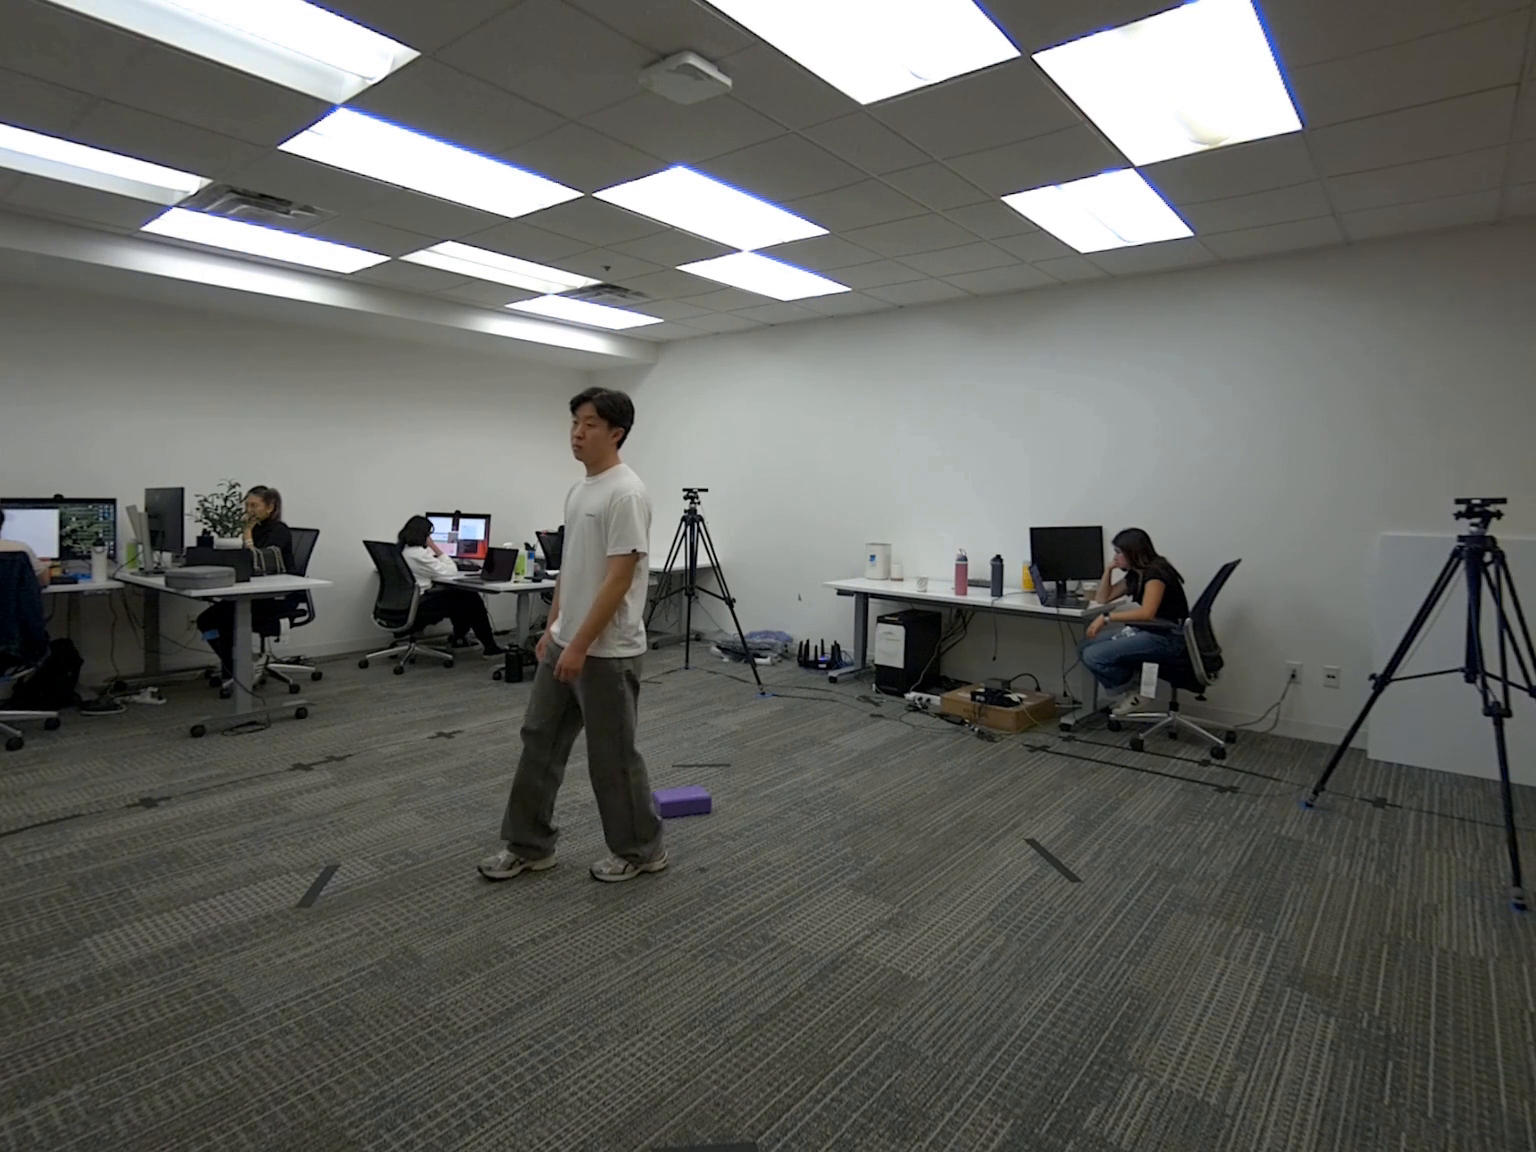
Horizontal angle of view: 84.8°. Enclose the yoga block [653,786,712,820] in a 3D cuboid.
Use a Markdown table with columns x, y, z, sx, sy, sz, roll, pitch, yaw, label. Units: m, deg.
| x | y | z | sx | sy | sz | roll | pitch | yaw | label |
| --- | --- | --- | --- | --- | --- | --- | --- | --- | --- |
| -0.371 | 0.966 | 3.684 | 0.225 | 0.076 | 0.153 | -2 | 6 | -20 | yoga block |
